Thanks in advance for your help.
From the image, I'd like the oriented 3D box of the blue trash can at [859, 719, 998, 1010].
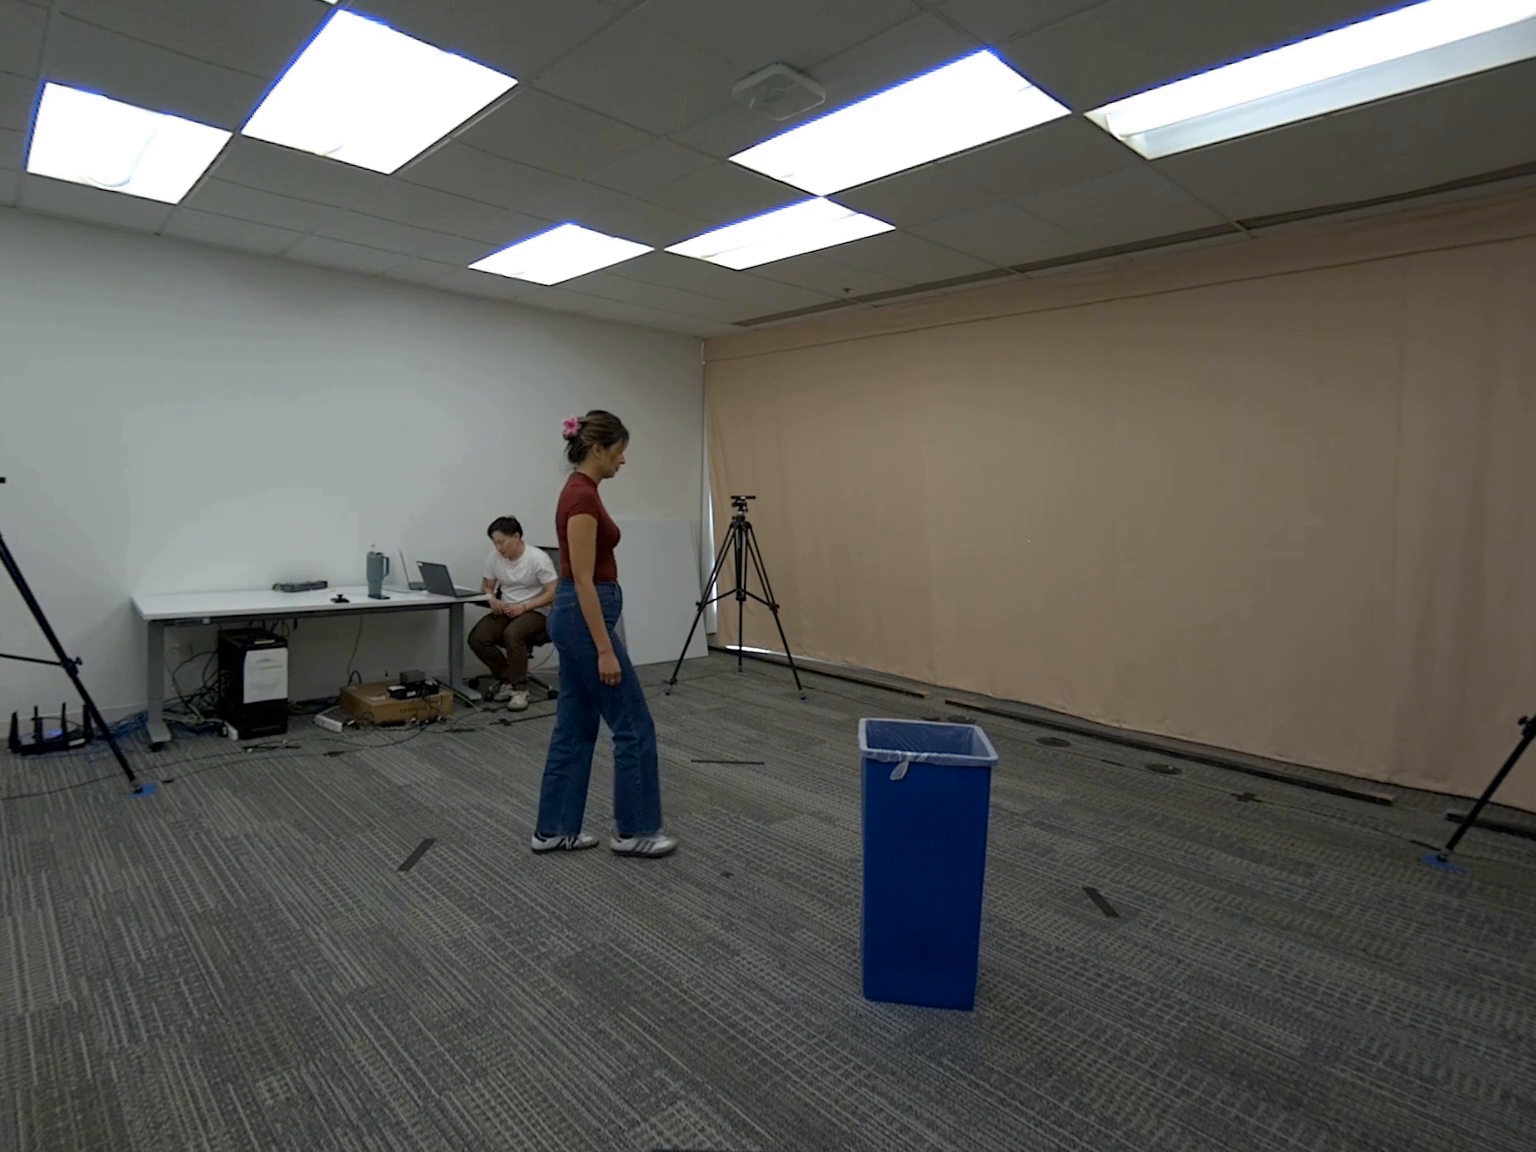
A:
[{"bbox_3d":[0.434,0.821,2.456,0.380,0.712,0.372,2,4,7],"label":"blue trash can"}]
